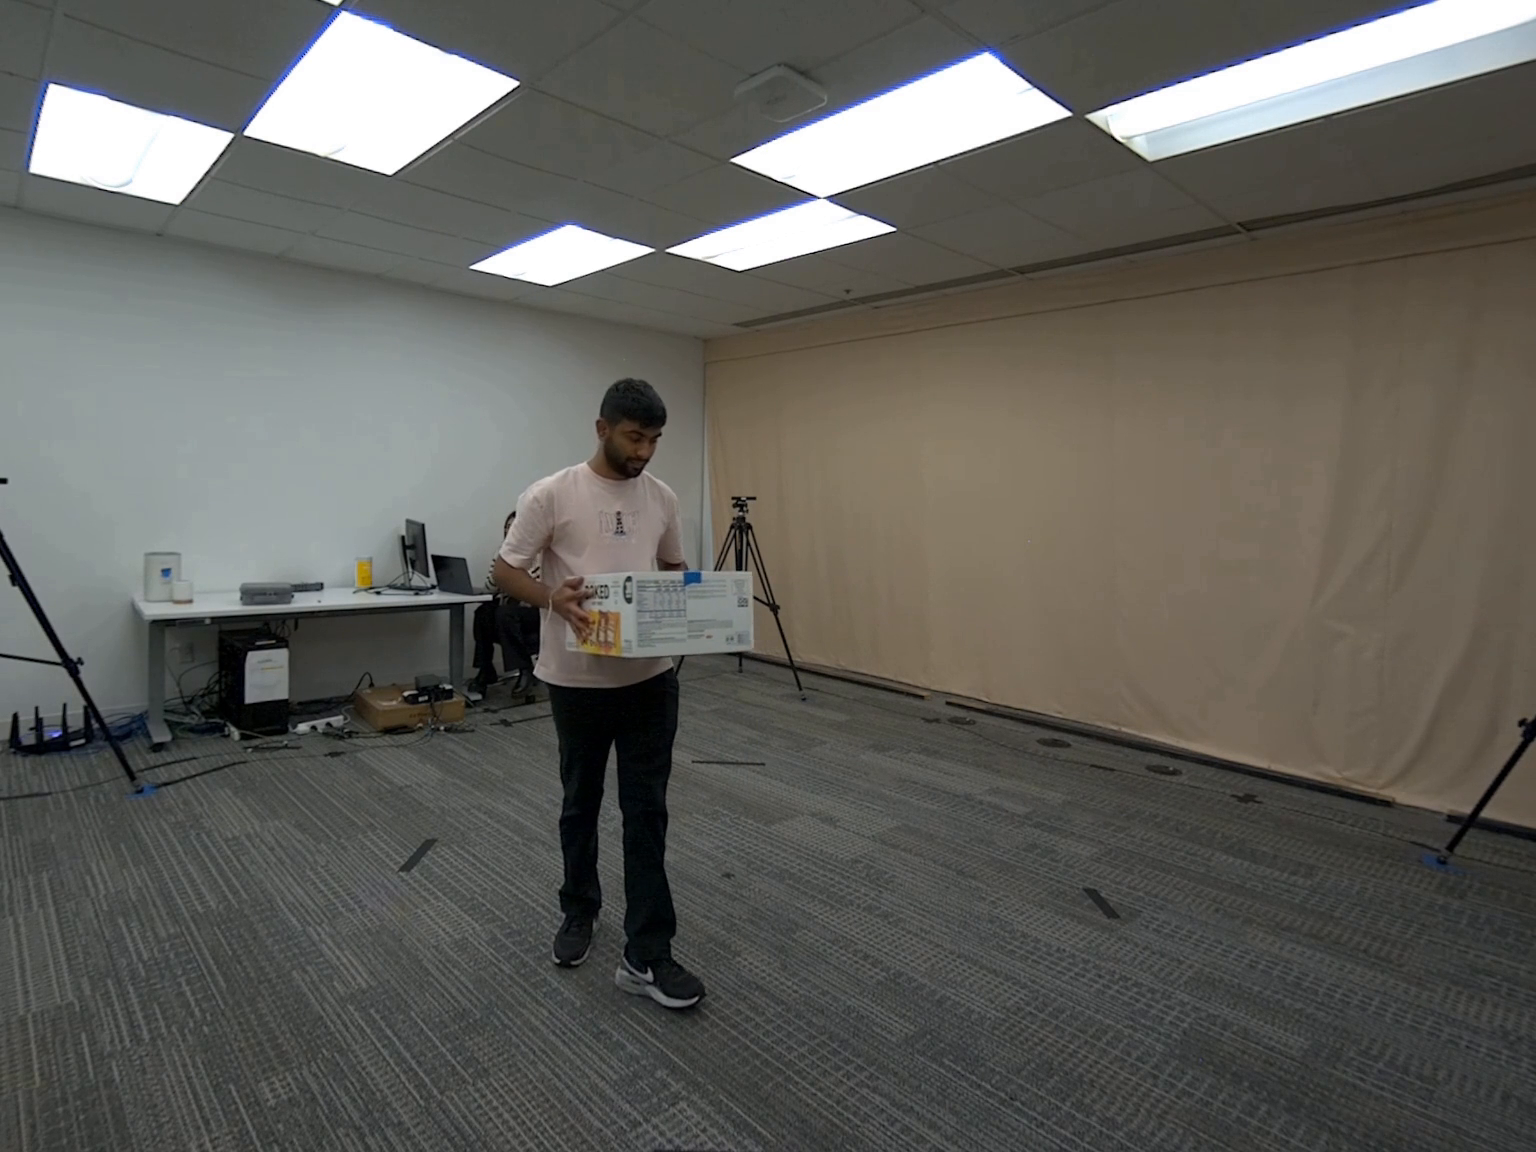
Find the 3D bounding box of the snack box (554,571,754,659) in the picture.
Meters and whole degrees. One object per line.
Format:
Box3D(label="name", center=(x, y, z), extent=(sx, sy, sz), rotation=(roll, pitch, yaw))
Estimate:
Box3D(label="snack box", center=(-0.295, 0.097, 2.197), extent=(0.333, 0.206, 0.413), rotation=(0, -2, -35))
